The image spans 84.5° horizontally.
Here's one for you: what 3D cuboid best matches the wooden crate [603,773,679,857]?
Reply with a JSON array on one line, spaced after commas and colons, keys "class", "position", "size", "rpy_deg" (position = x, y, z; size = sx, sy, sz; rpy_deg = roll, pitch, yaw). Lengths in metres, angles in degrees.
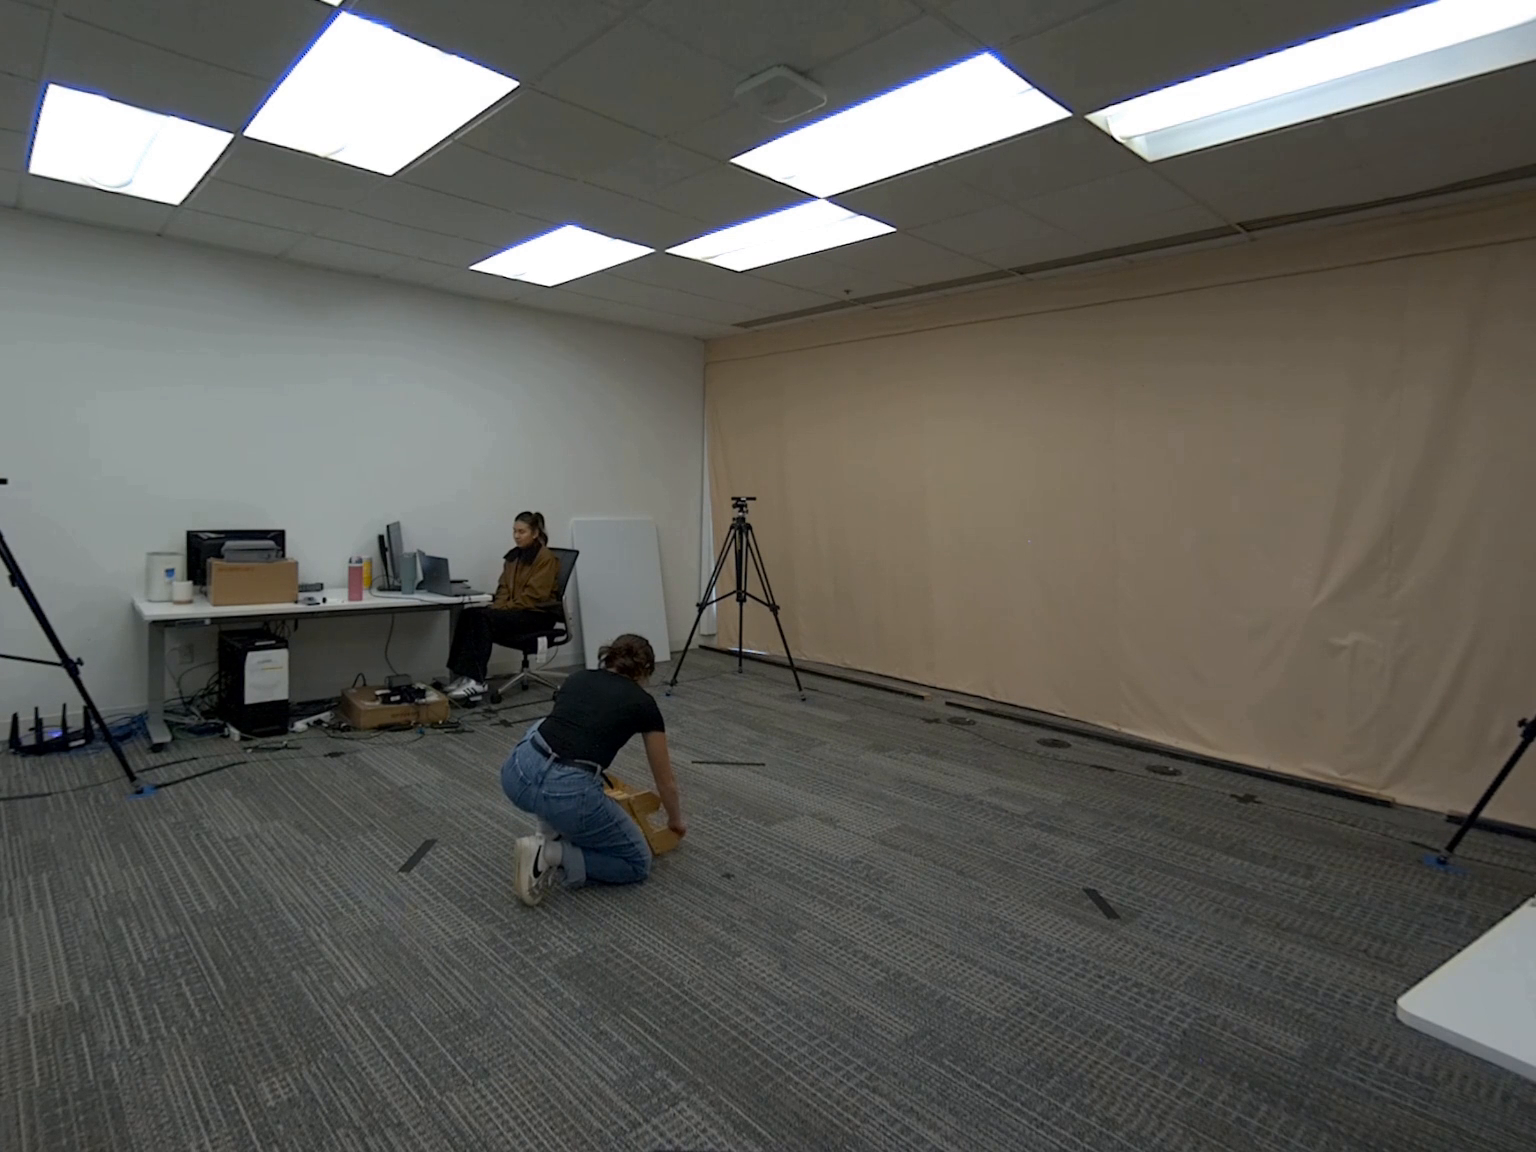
[{"class": "wooden crate", "position": [-0.565, 0.940, 3.354], "size": [0.295, 0.272, 0.333], "rpy_deg": [-3, 7, -43]}]
